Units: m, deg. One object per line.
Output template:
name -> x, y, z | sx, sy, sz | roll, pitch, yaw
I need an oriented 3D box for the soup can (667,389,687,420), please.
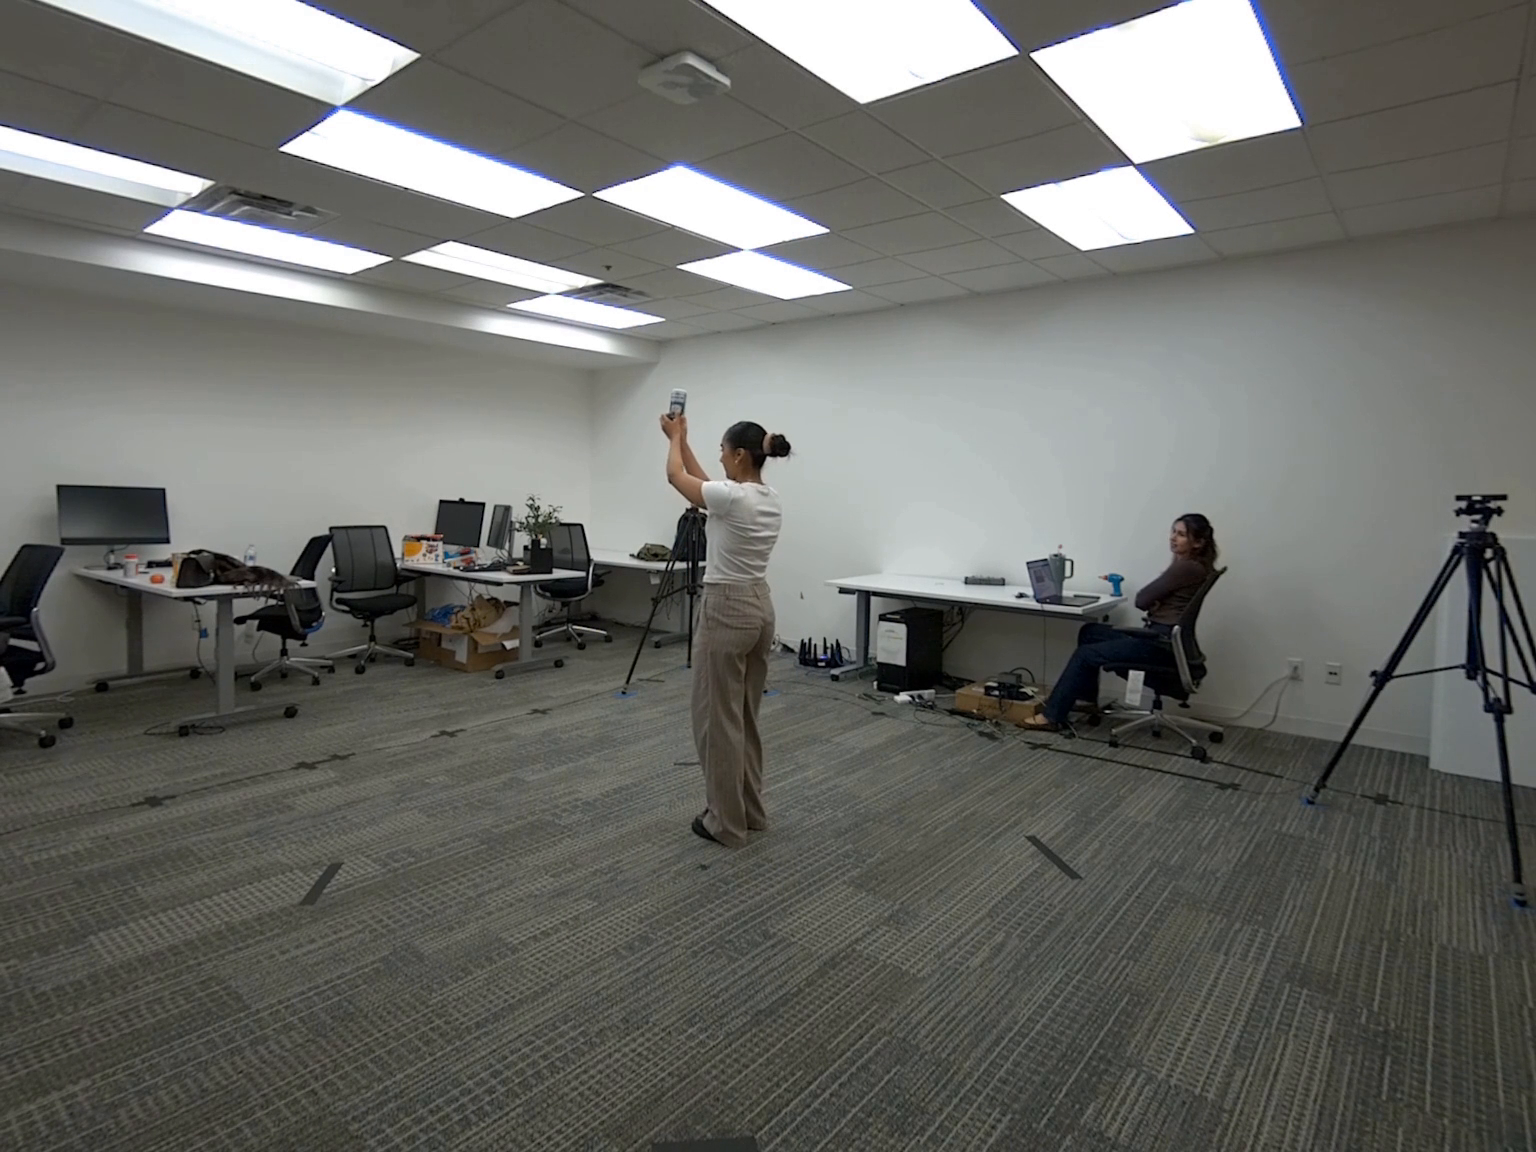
soup can -> -0.390, -0.734, 3.611 | 0.067, 0.121, 0.067 | 4, 0, -2
